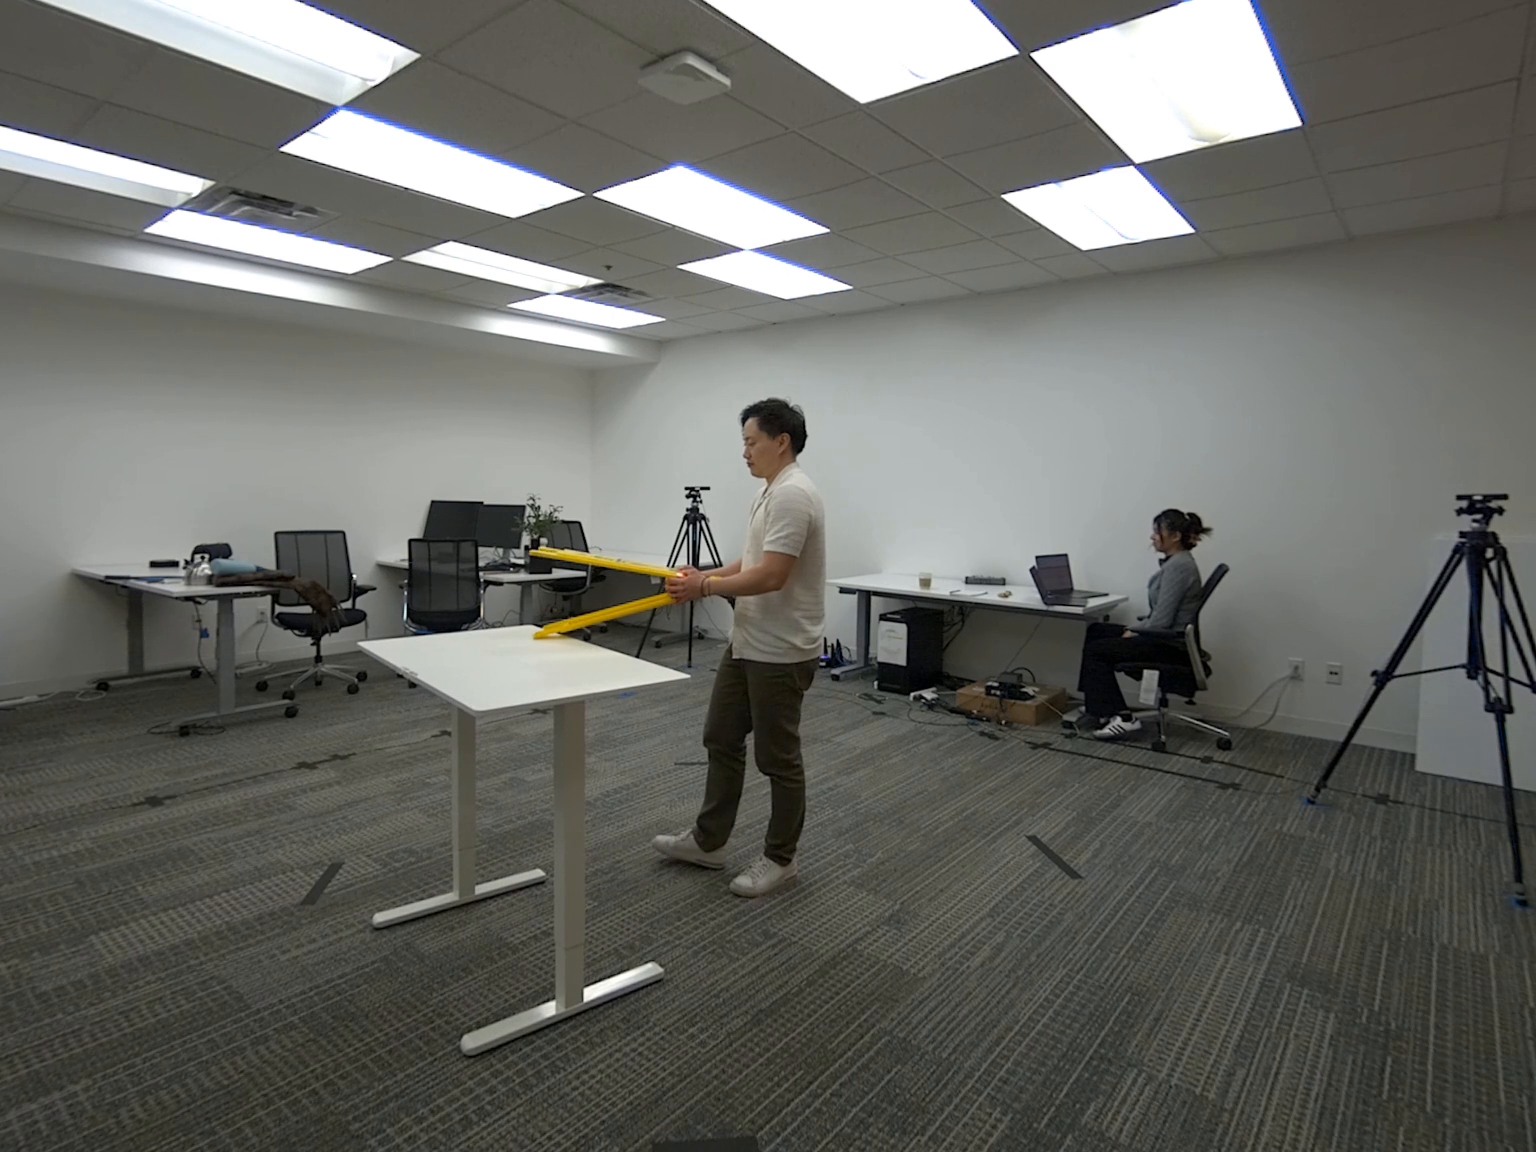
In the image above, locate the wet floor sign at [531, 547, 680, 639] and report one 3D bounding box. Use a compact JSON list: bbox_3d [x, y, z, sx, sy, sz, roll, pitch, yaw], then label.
[{"bbox_3d":[-0.484,0.032,2.943,0.645,0.289,0.283,-3,2,-1],"label":"wet floor sign"}]
